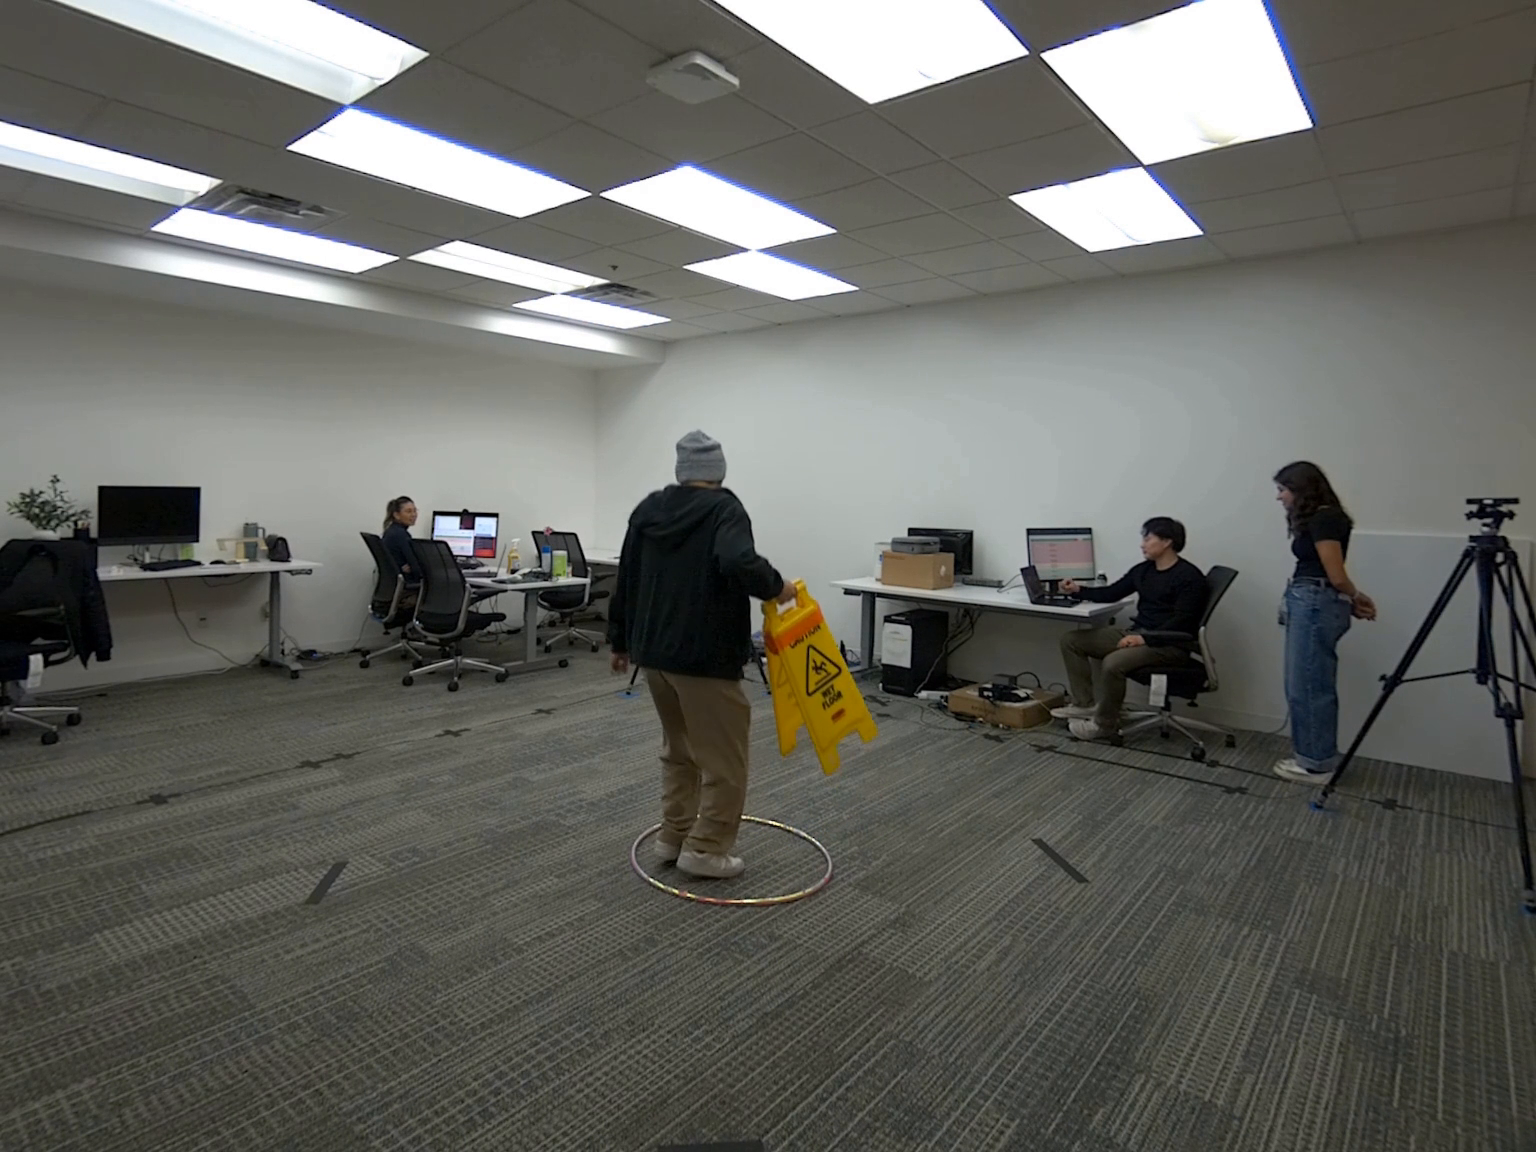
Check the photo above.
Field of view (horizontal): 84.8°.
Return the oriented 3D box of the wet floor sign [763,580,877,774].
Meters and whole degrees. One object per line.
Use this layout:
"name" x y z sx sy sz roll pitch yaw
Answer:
"wet floor sign" 0.119 0.340 3.050 0.278 0.633 0.300 -28 21 -33
